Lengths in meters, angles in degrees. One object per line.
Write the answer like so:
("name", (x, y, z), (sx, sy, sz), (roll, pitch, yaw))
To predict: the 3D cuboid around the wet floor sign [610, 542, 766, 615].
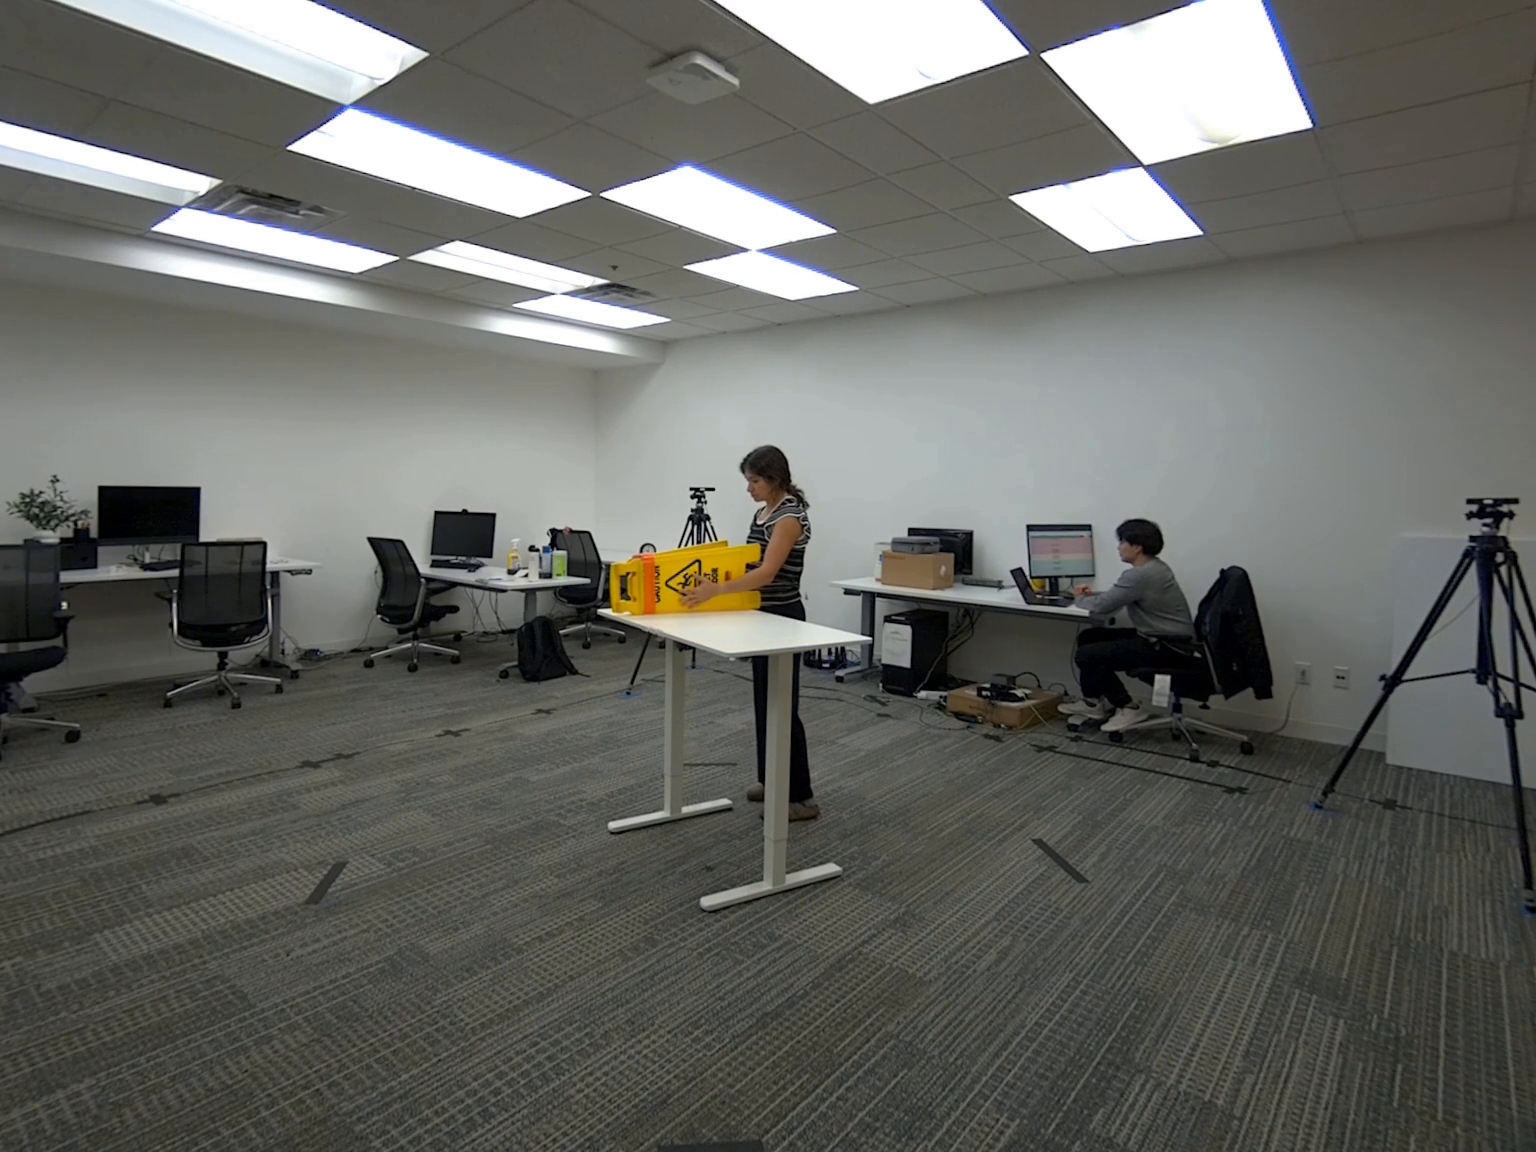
("wet floor sign", (-0.371, 0.018, 3.497), (0.628, 0.281, 0.299), (-7, 7, -37))
